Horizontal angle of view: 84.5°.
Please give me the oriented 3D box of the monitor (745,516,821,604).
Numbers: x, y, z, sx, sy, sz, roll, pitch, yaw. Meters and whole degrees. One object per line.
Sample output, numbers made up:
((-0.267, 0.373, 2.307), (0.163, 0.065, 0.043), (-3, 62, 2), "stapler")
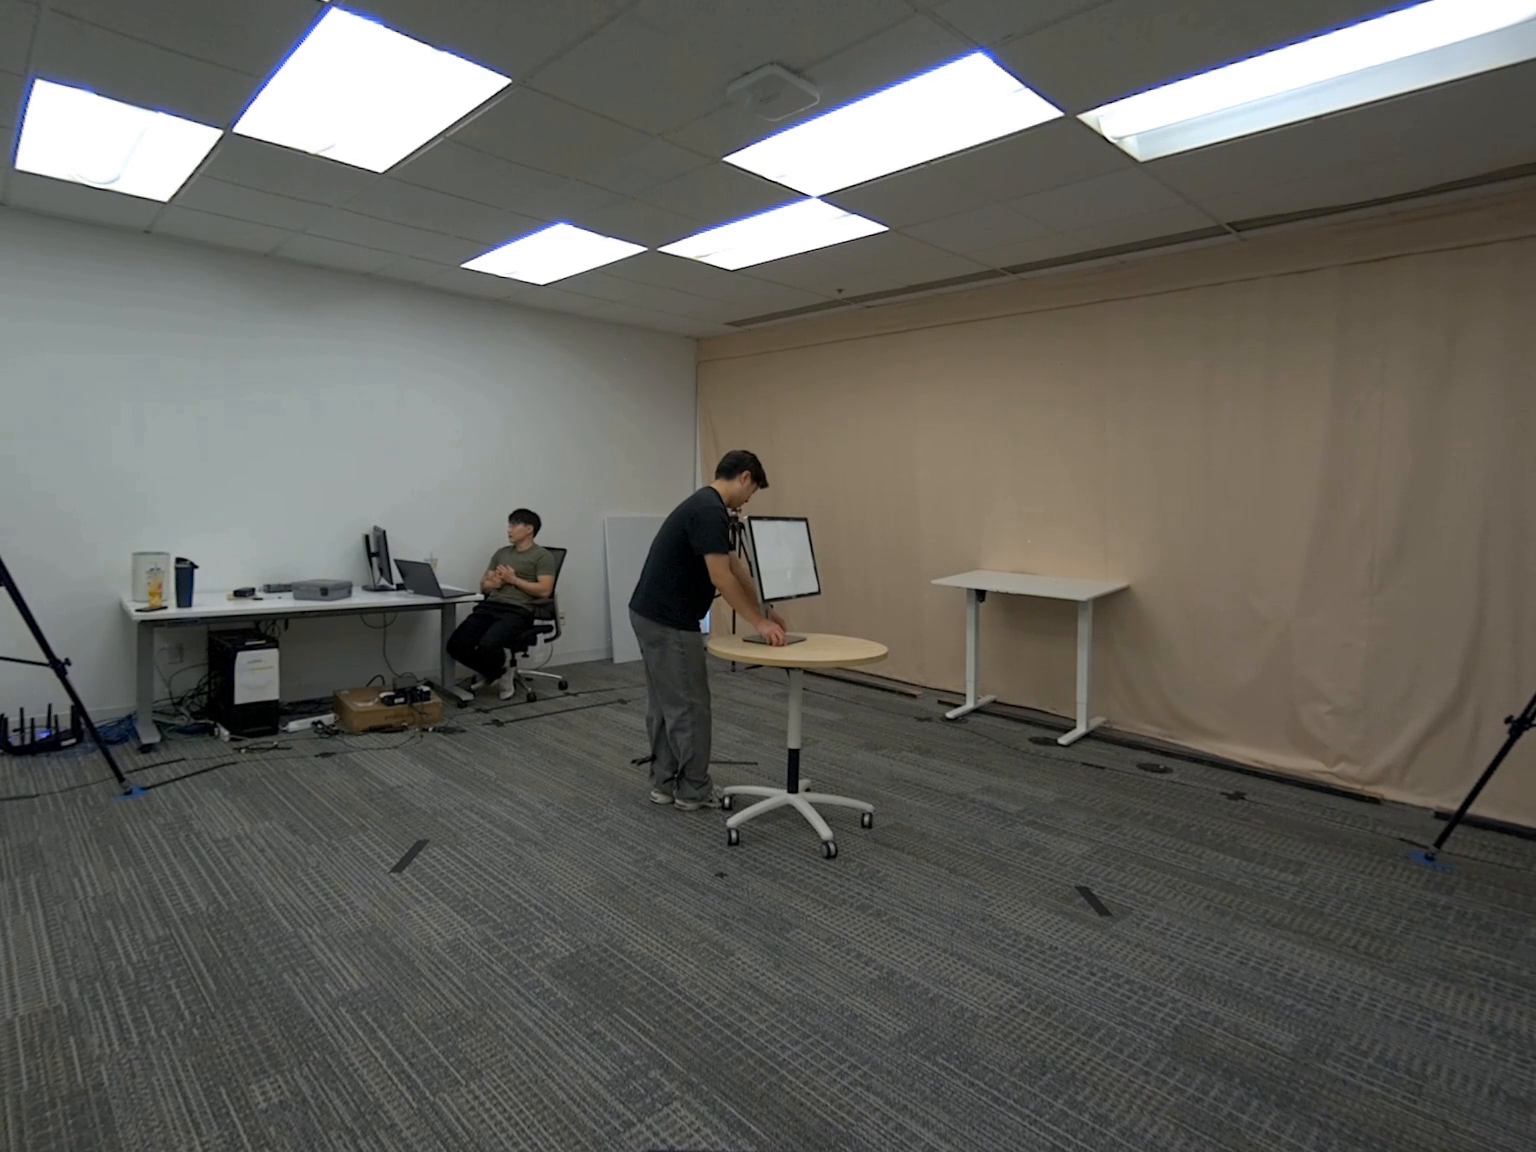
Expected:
((0.032, 0.020, 3.686), (0.227, 0.564, 0.550), (6, 5, 32), "monitor")
